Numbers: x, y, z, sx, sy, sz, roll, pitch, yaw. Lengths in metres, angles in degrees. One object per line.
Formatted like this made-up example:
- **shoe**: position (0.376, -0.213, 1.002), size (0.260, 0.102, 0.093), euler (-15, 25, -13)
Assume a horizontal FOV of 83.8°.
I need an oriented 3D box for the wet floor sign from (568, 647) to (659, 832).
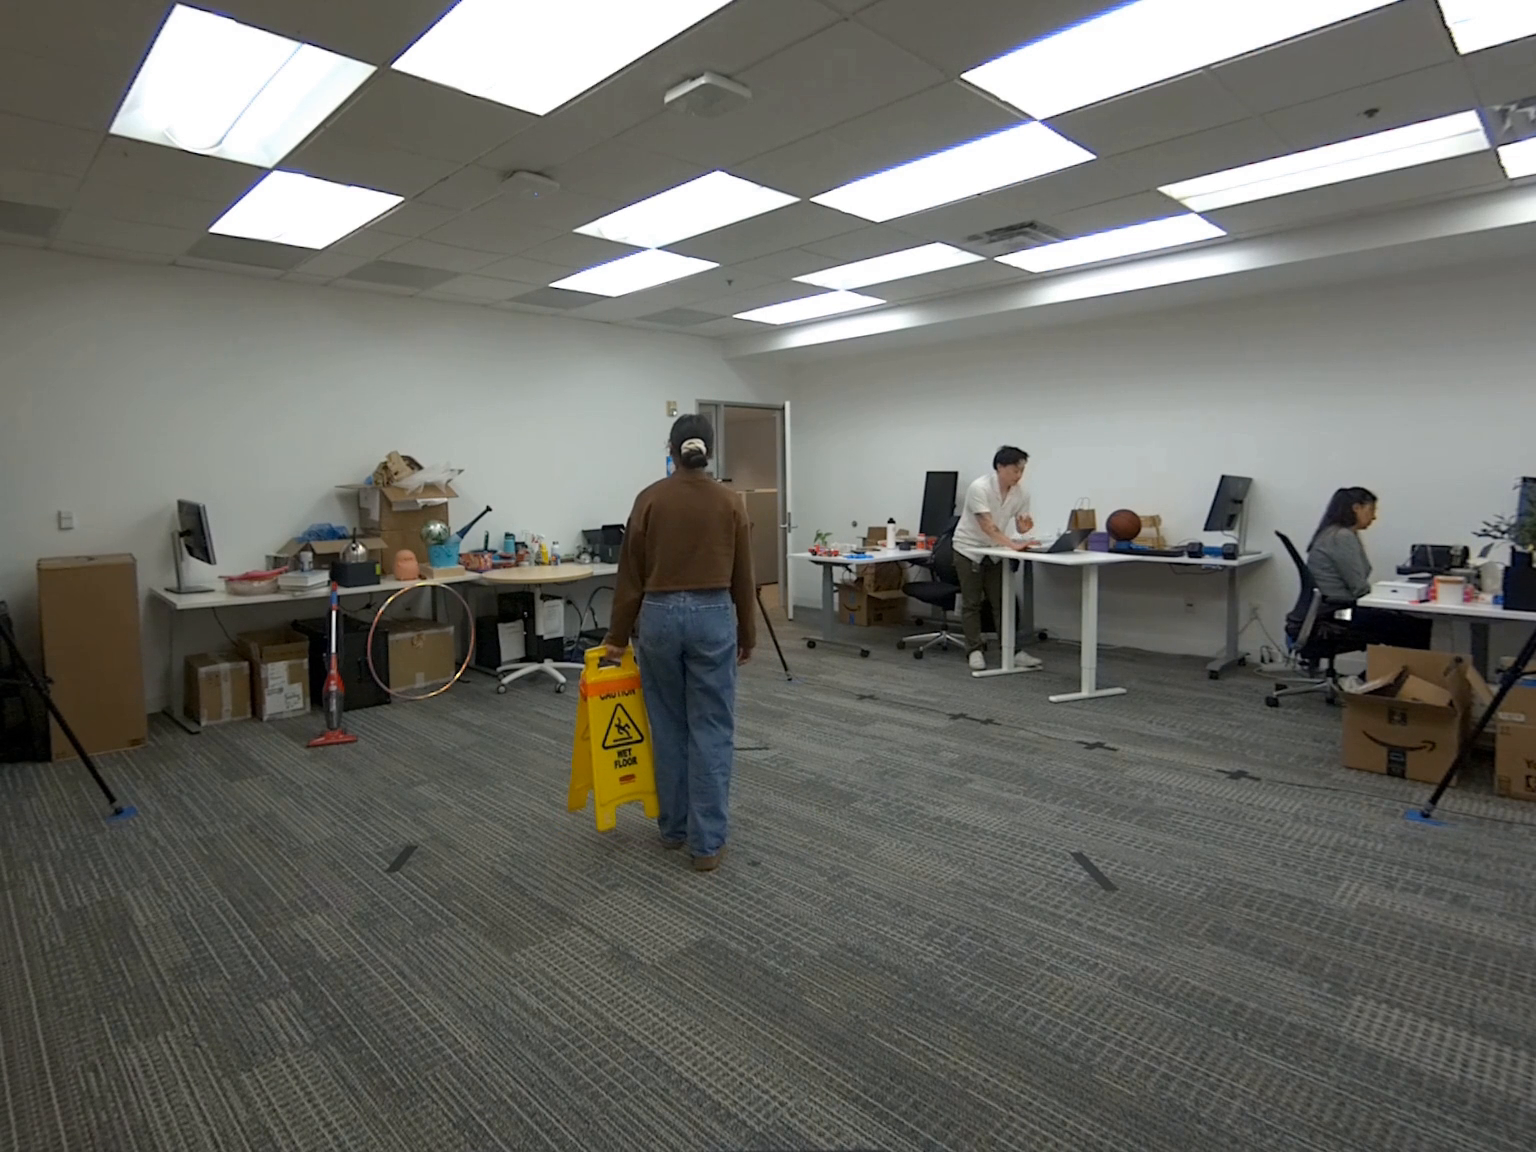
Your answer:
- **wet floor sign**: position (-0.596, 0.594, 3.295), size (0.275, 0.644, 0.298), euler (-4, 4, -37)
